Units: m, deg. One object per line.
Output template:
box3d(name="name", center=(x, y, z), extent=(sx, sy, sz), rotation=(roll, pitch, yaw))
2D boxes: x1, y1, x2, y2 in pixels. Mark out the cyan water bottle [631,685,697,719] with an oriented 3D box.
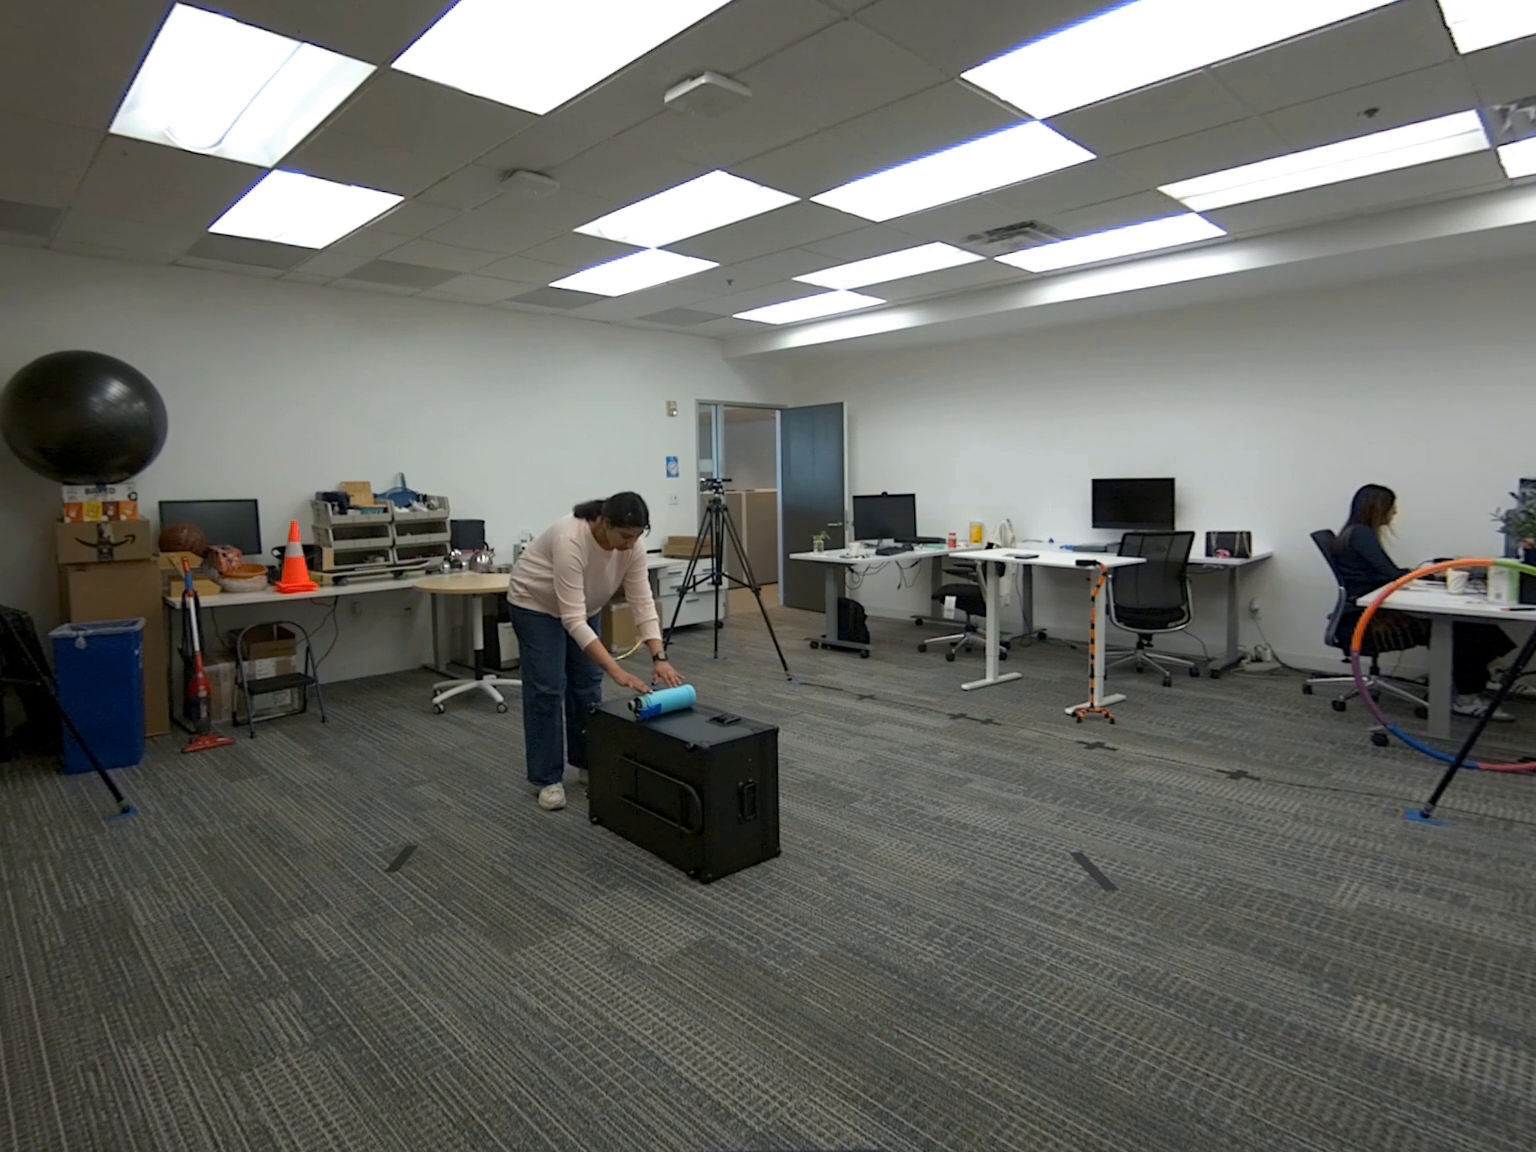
box3d(name="cyan water bottle", center=(-0.417, 0.490, 3.359), extent=(0.276, 0.092, 0.095), rotation=(-8, 8, -43))
